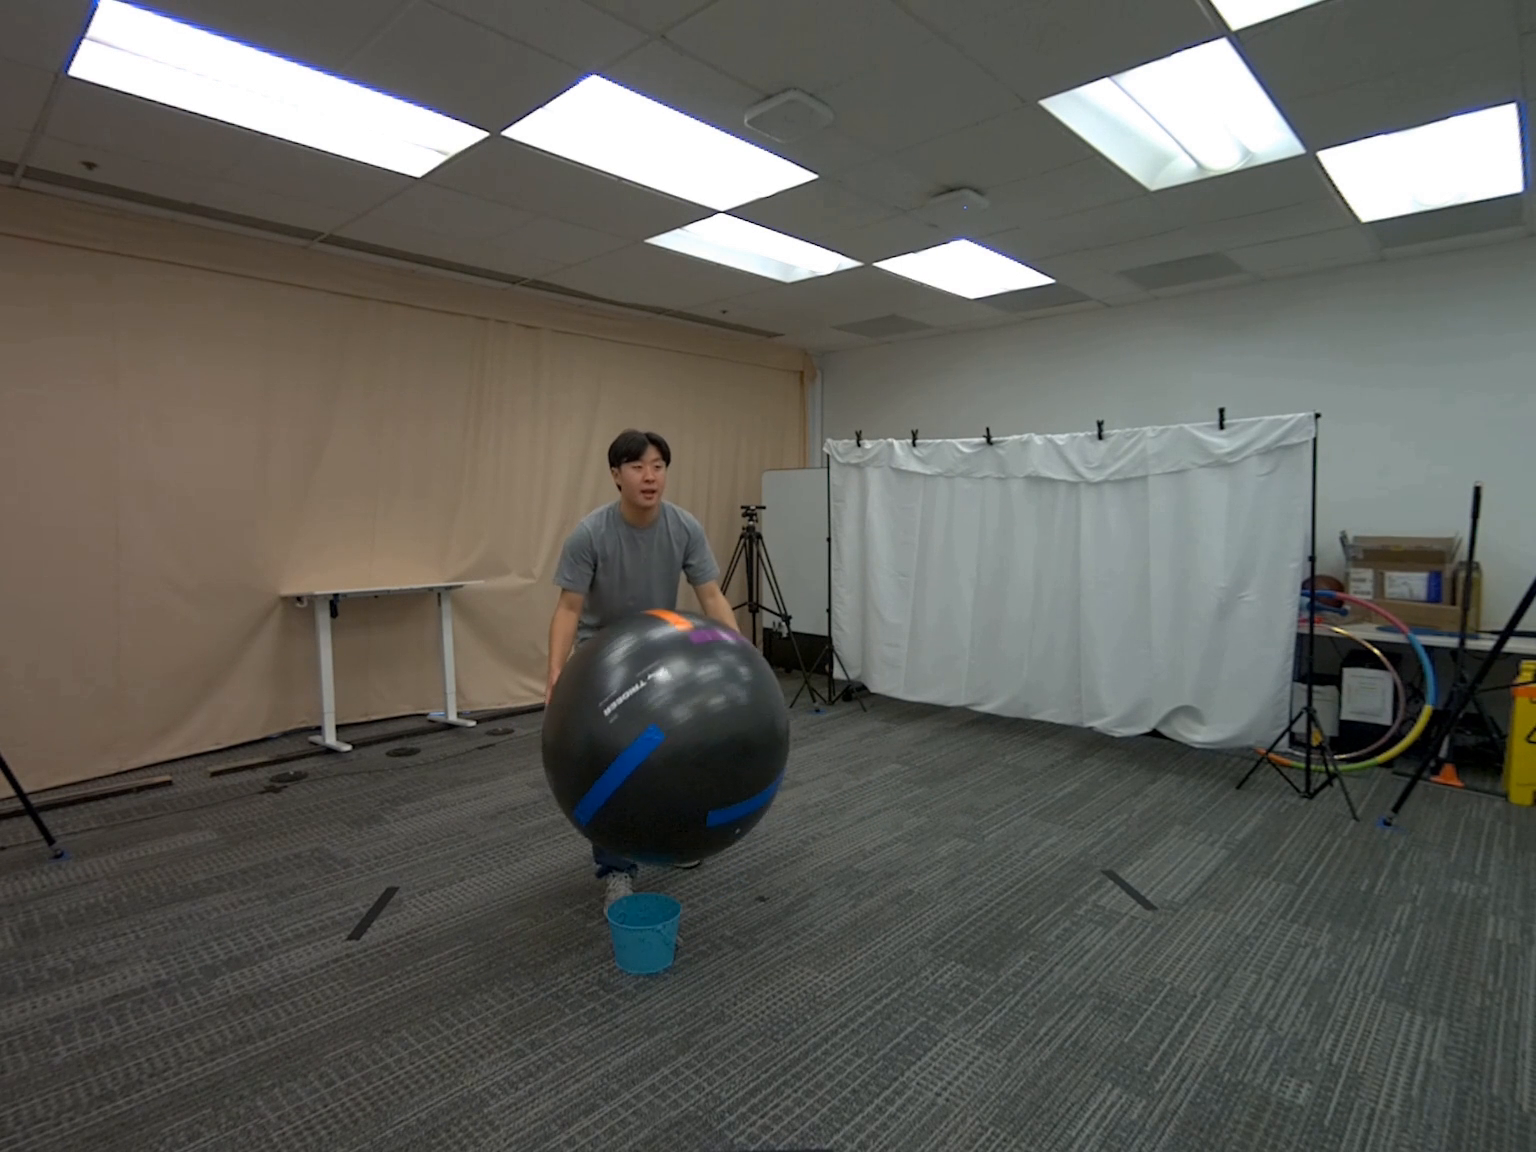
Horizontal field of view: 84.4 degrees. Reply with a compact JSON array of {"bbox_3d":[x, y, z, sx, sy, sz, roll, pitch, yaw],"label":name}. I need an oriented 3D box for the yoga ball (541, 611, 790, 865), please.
[{"bbox_3d":[-0.311,0.476,2.575,0.757,0.756,0.761,0,4,-2],"label":"yoga ball"}]
